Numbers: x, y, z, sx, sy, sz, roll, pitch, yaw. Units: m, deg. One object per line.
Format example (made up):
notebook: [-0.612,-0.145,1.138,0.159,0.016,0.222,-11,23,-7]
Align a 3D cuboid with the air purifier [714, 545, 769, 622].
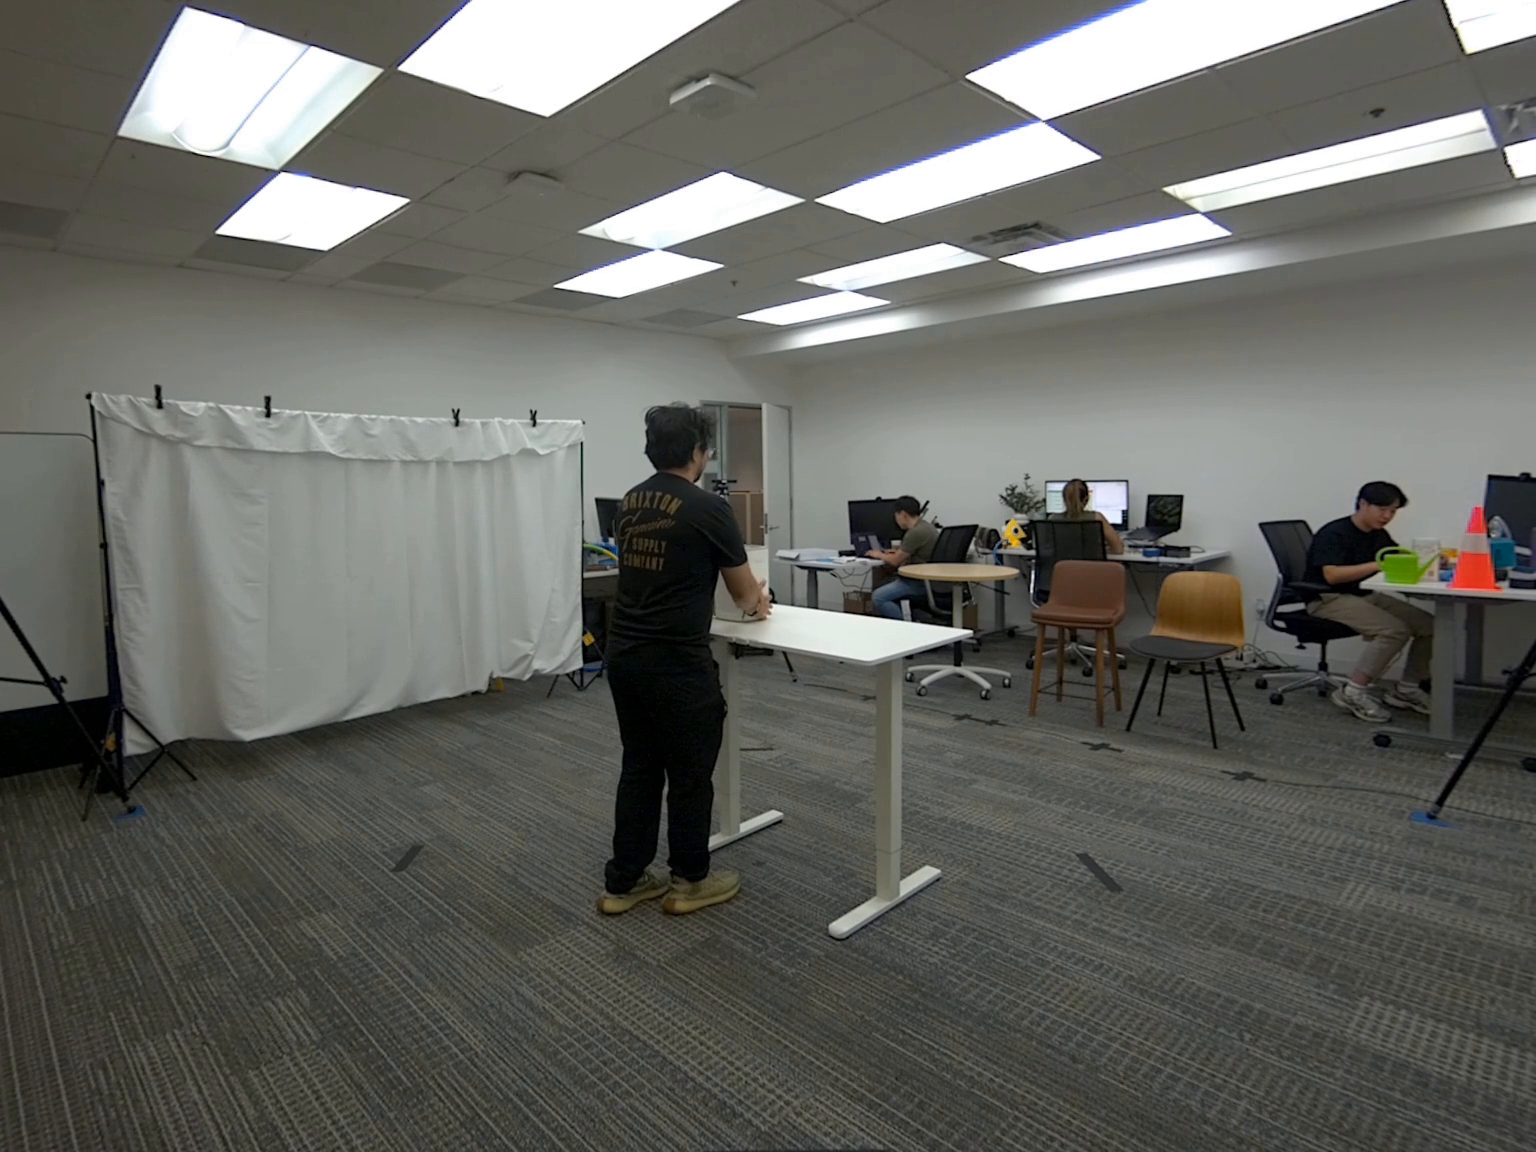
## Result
air purifier: [-0.092,0.024,3.147,0.177,0.264,0.167,3,7,42]
